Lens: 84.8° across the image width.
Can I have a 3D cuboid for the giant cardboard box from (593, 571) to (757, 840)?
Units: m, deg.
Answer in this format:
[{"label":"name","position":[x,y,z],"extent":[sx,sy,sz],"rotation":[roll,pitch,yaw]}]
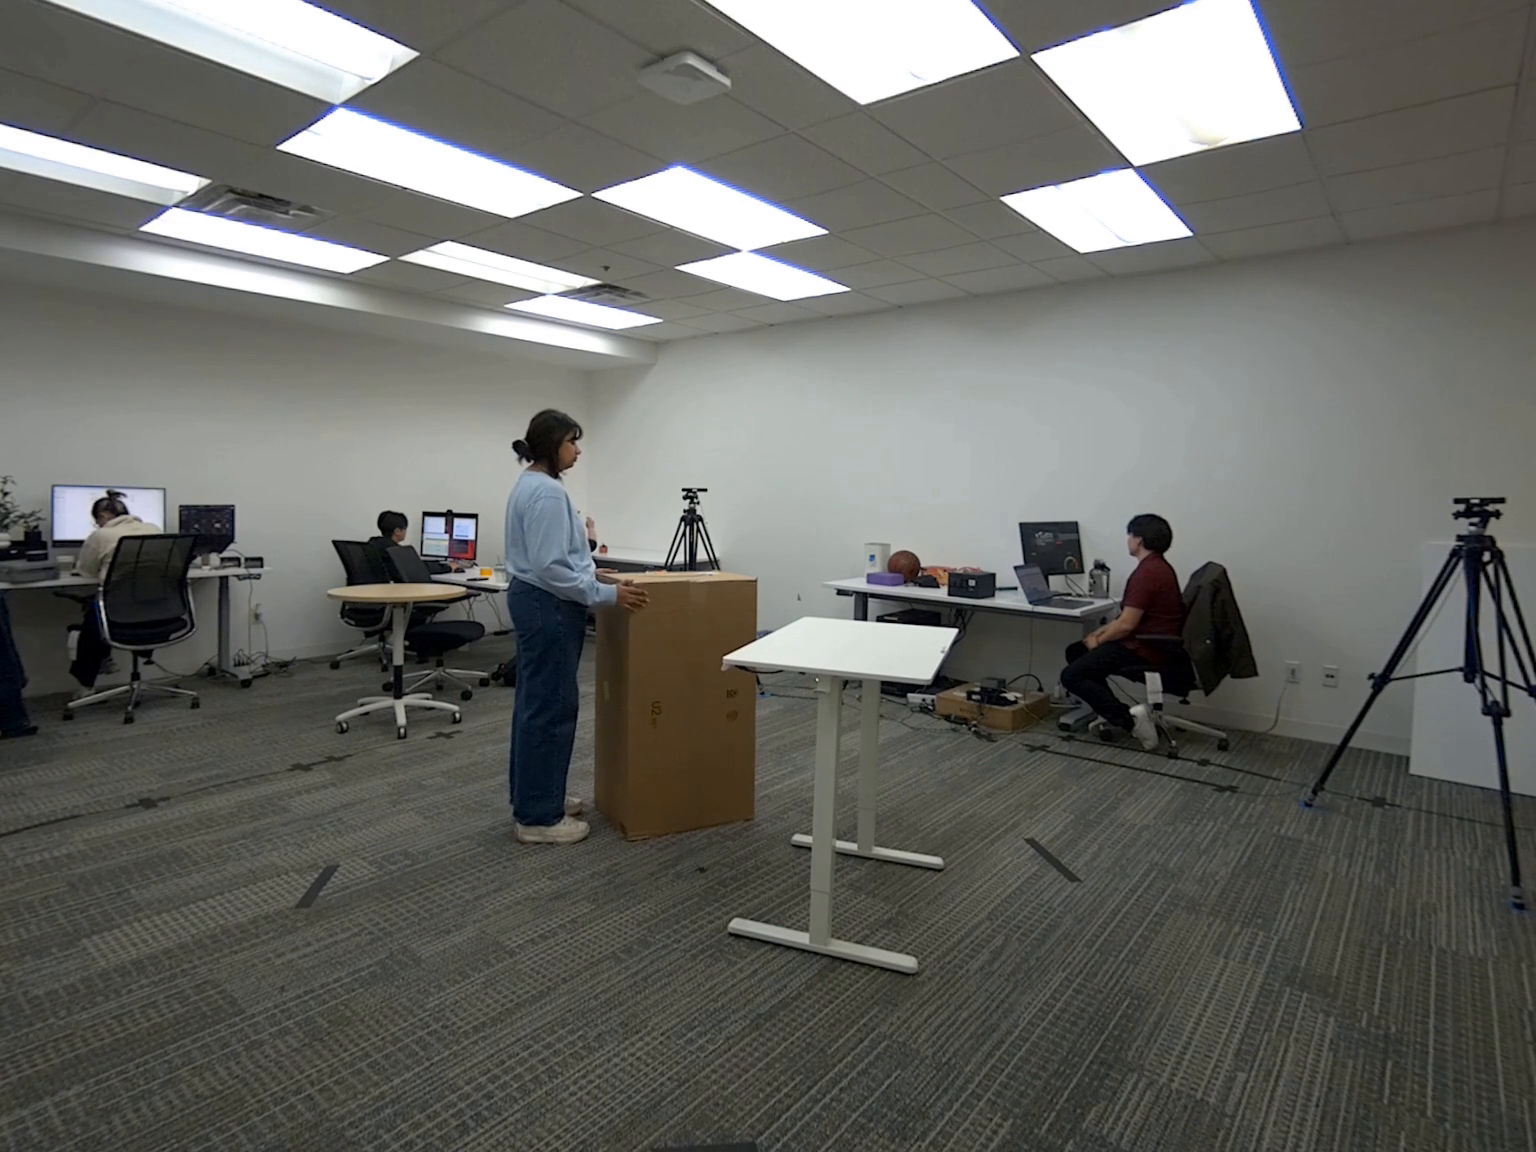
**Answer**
[{"label":"giant cardboard box","position":[-0.408,0.511,3.636],"extent":[0.563,1.023,0.438],"rotation":[-1,3,-28]}]
